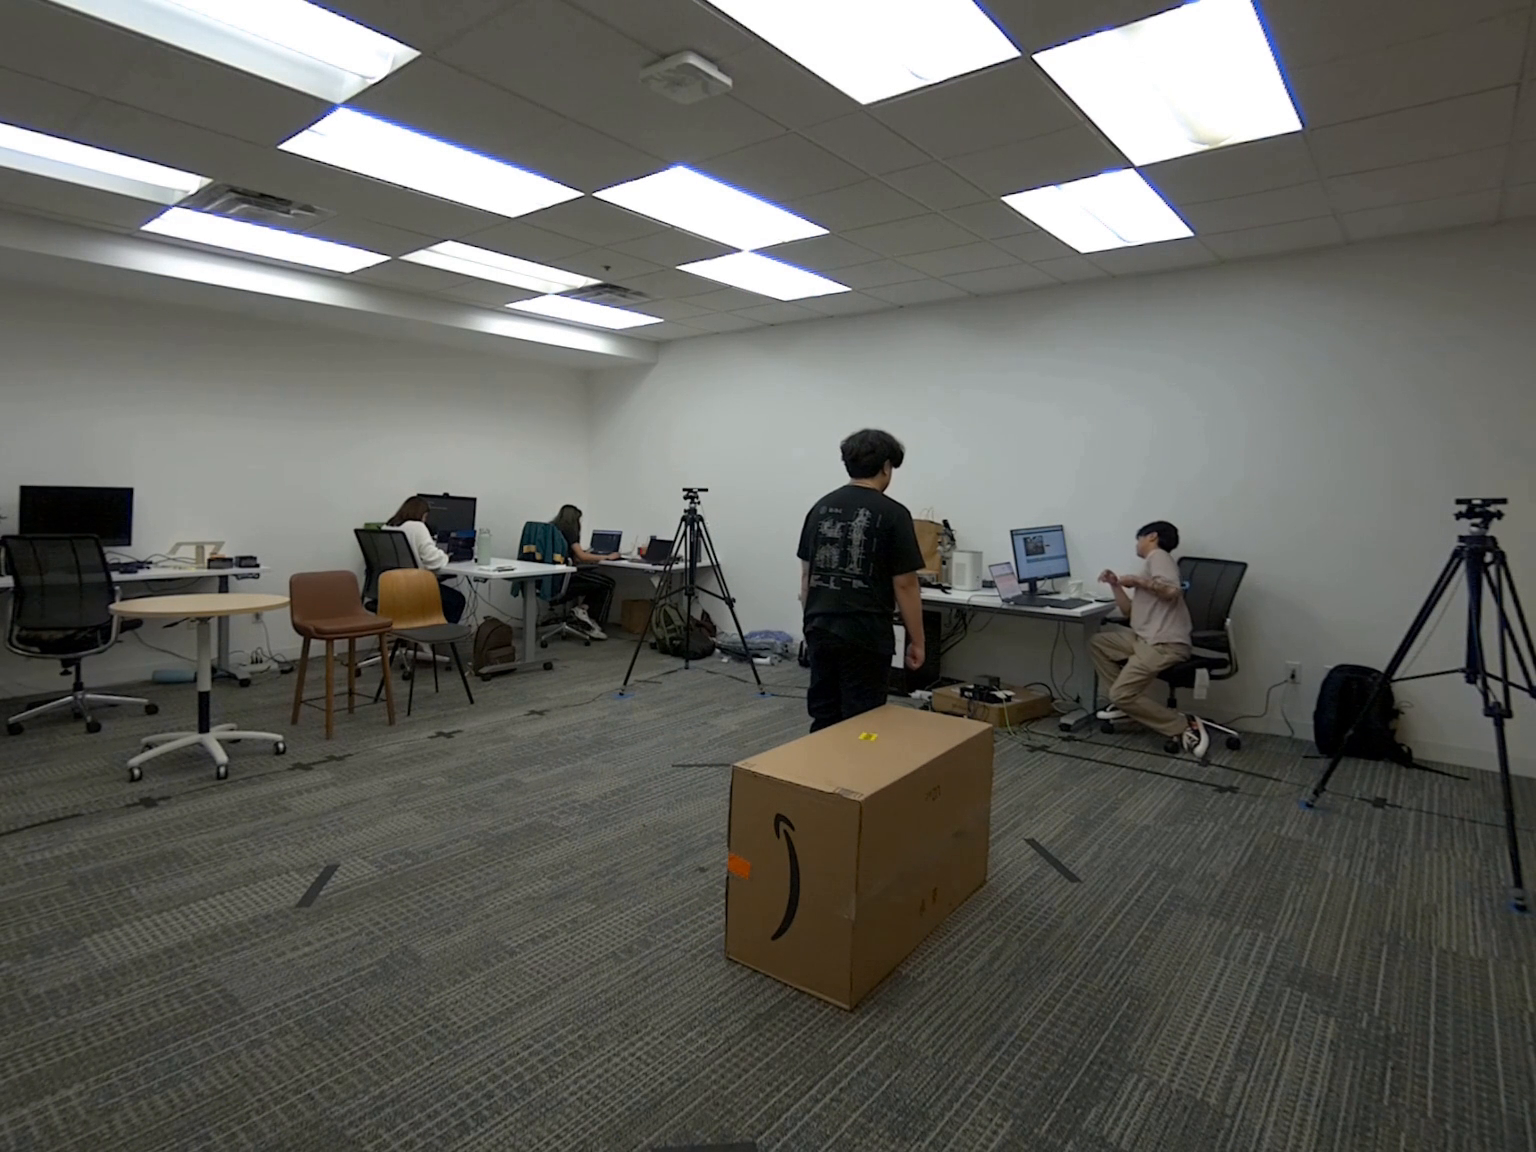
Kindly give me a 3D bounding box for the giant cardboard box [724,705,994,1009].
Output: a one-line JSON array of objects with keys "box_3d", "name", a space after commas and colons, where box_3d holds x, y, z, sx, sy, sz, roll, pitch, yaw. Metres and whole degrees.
[{"box_3d": [0.333, 0.827, 2.783, 0.461, 0.582, 0.998, 3, 5, 35], "name": "giant cardboard box"}]
